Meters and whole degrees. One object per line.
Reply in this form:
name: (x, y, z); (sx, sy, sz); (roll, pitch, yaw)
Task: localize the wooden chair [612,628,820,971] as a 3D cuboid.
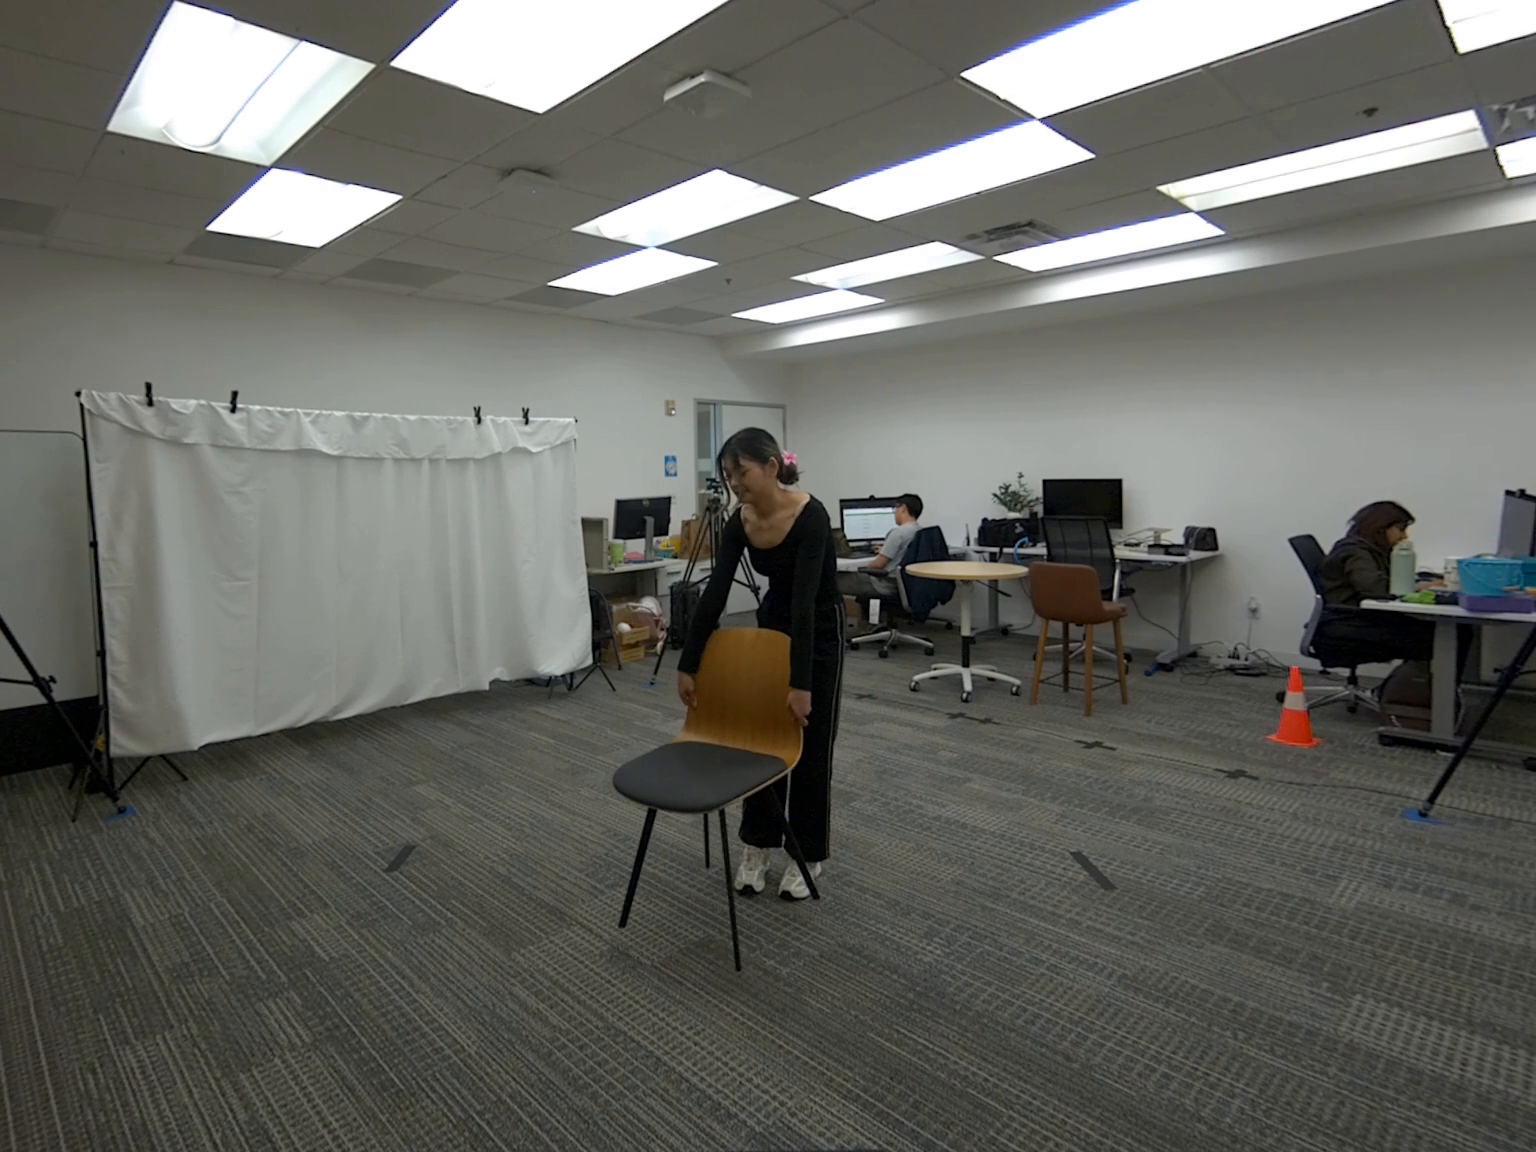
wooden chair: (-0.172, 0.626, 2.608); (0.491, 0.876, 0.509); (1, 2, 34)
